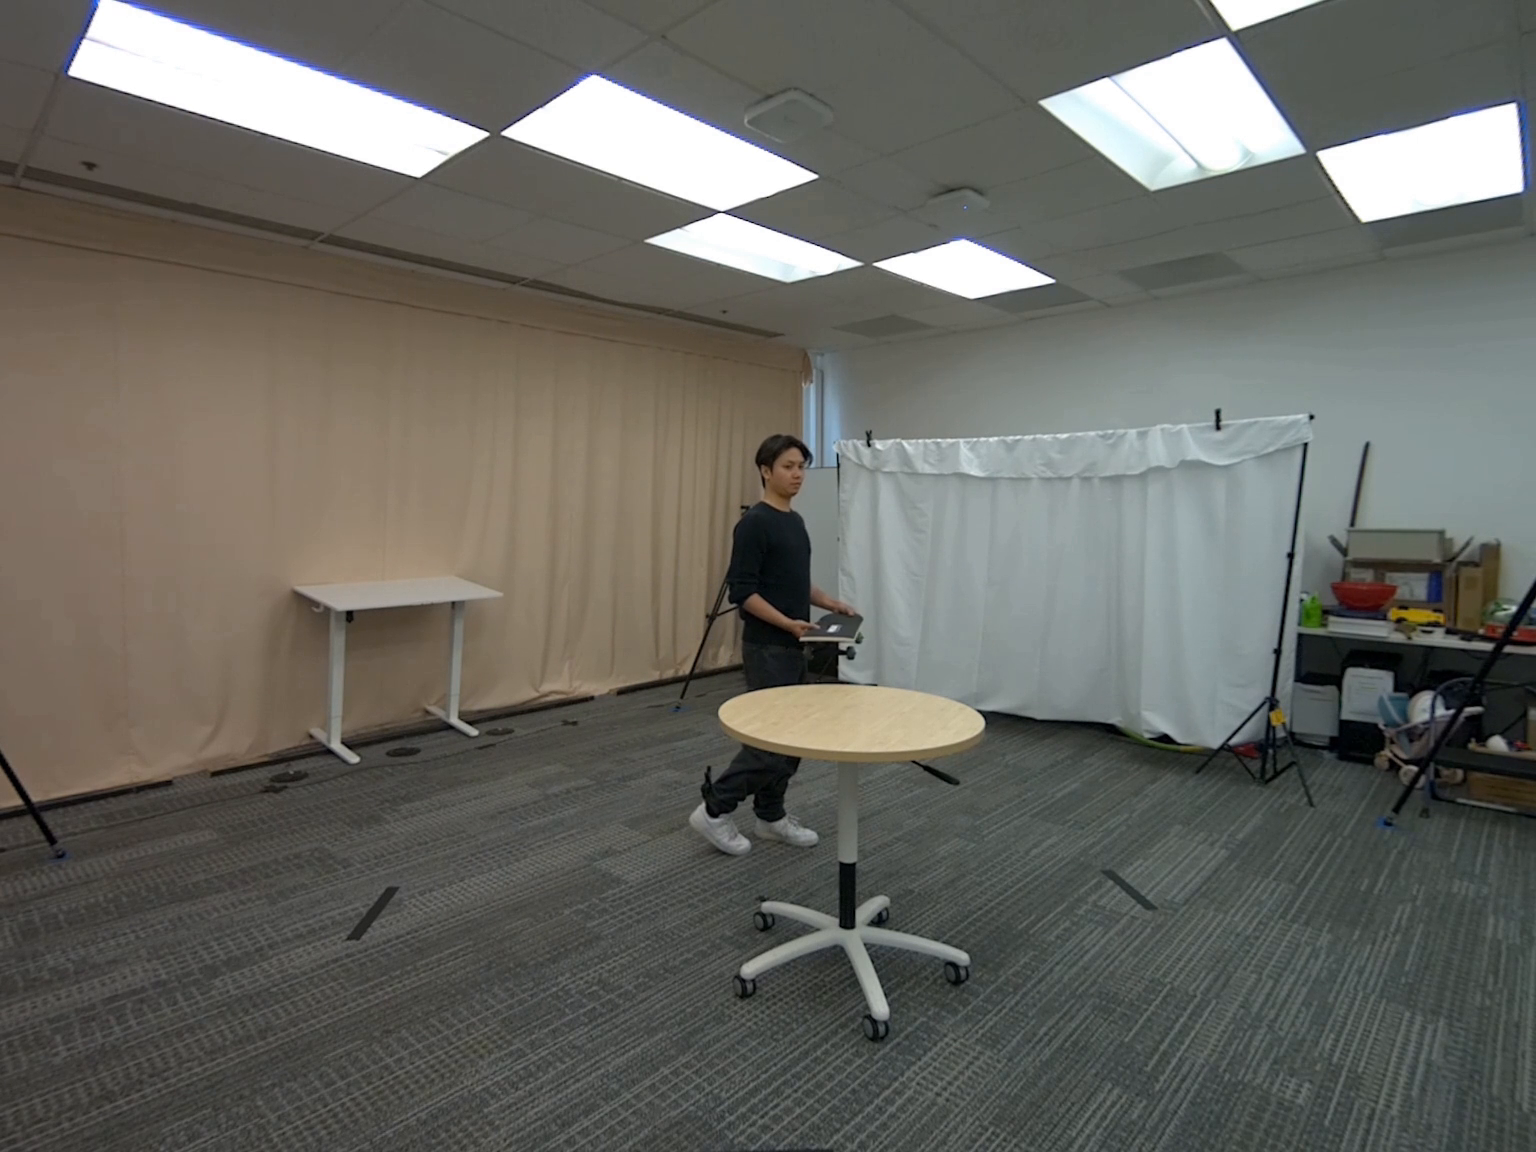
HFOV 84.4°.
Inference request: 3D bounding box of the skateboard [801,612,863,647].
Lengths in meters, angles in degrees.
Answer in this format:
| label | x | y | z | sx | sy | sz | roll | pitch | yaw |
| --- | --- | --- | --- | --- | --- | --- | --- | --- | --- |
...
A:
| label | x | y | z | sx | sy | sz | roll | pitch | yaw |
| --- | --- | --- | --- | --- | --- | --- | --- | --- | --- |
| skateboard | 0.257 | 0.236 | 3.267 | 0.196 | 0.110 | 0.776 | 1 | 4 | 11 |
